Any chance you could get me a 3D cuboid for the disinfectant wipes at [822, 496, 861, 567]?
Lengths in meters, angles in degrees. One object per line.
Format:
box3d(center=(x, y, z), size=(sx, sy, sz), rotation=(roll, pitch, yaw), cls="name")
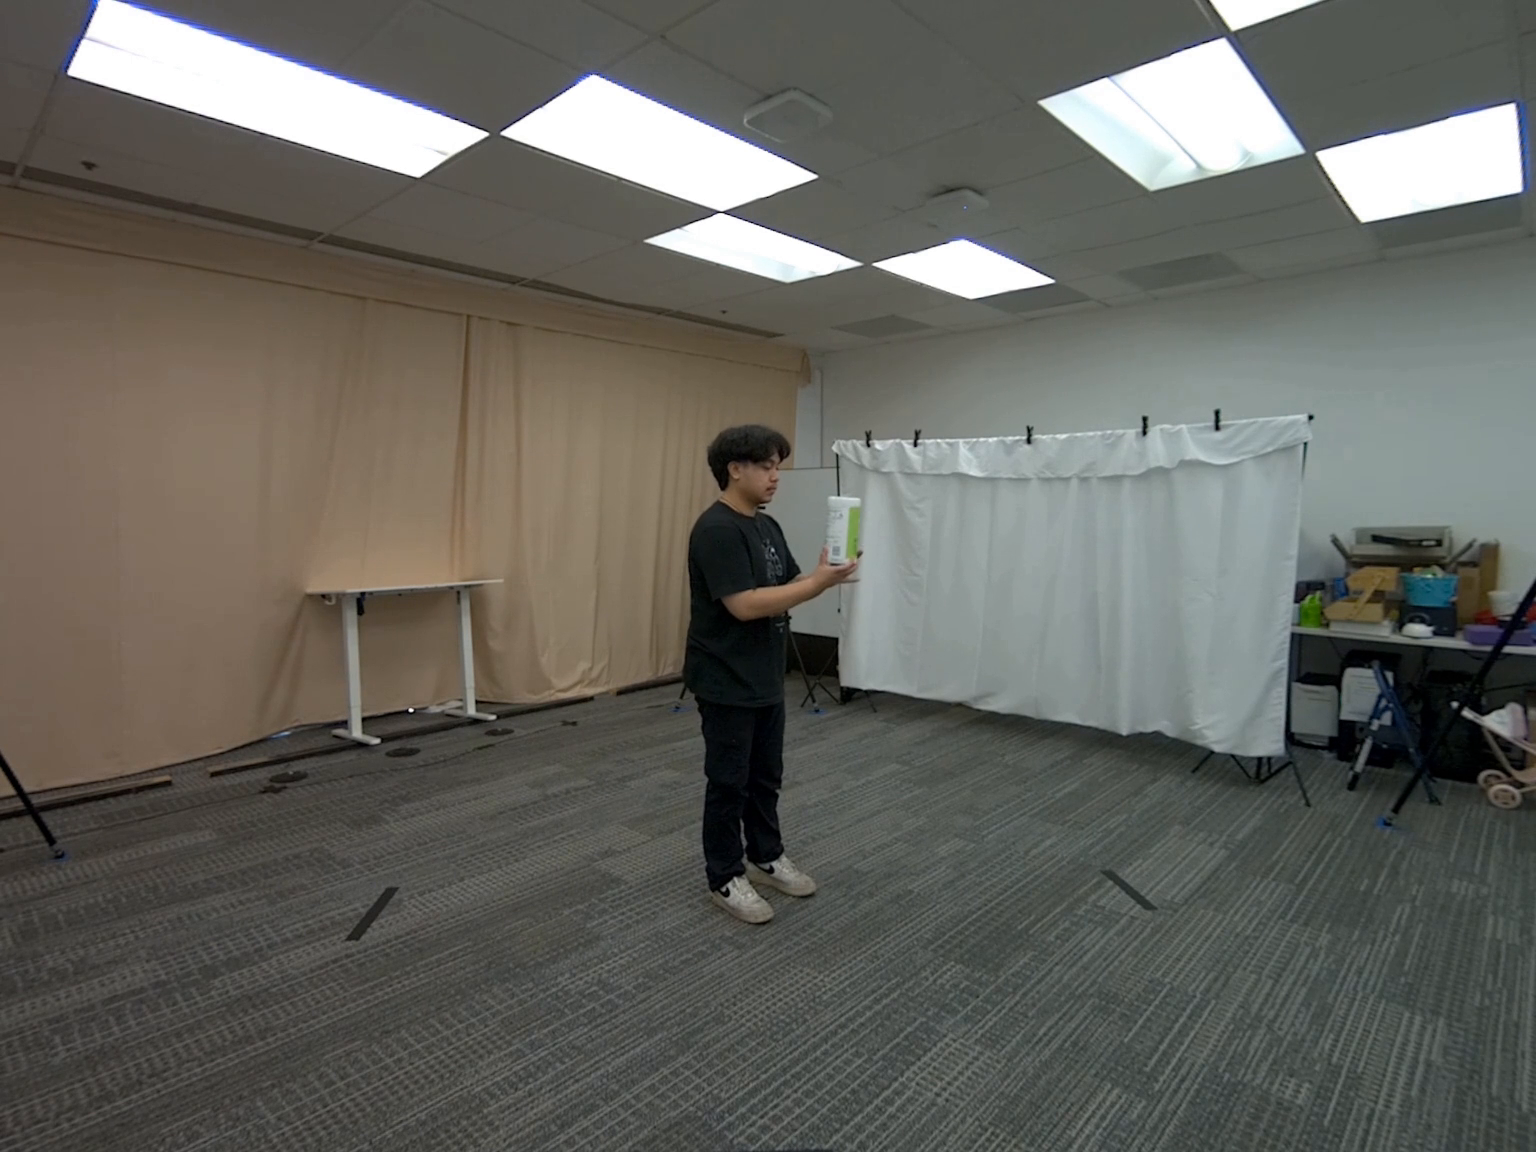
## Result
box3d(center=(0.245, -0.149, 2.727), size=(0.117, 0.217, 0.118), rotation=(4, 6, -2), cls="disinfectant wipes")
